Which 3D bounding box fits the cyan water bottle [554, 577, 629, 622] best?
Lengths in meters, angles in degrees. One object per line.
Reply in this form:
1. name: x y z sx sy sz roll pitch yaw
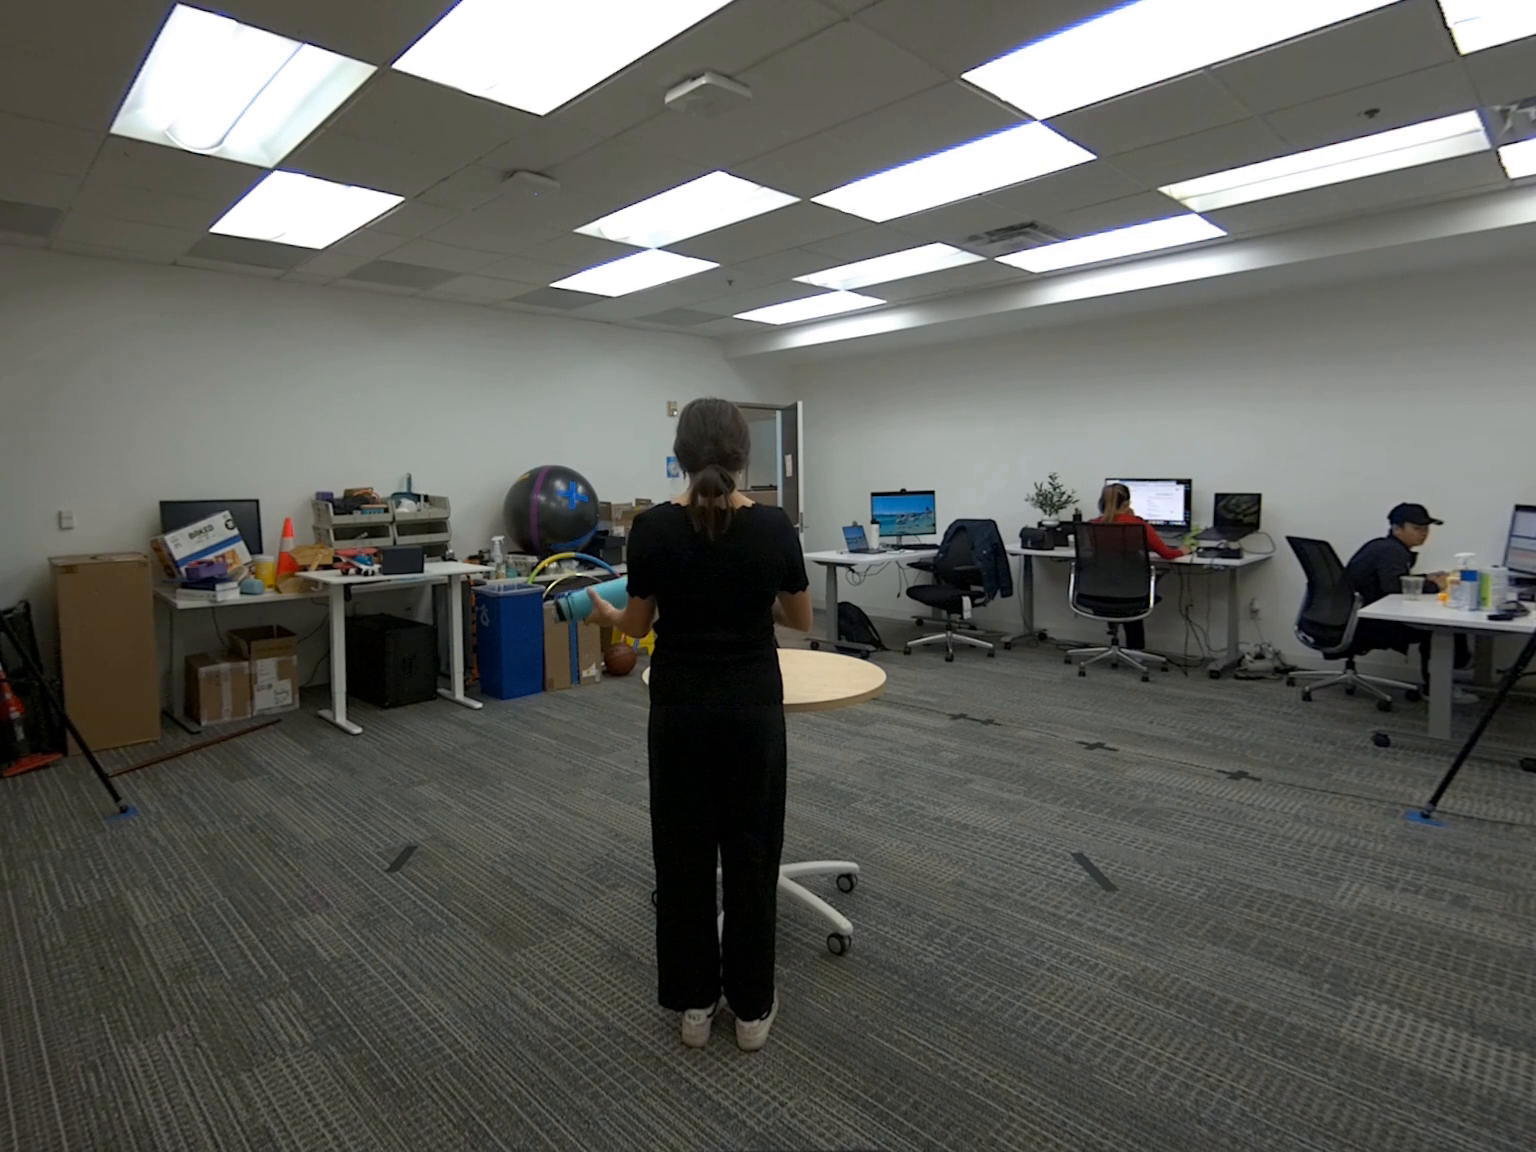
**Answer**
1. cyan water bottle: -0.482 0.067 2.489 0.281 0.091 0.094 -15 8 -13
